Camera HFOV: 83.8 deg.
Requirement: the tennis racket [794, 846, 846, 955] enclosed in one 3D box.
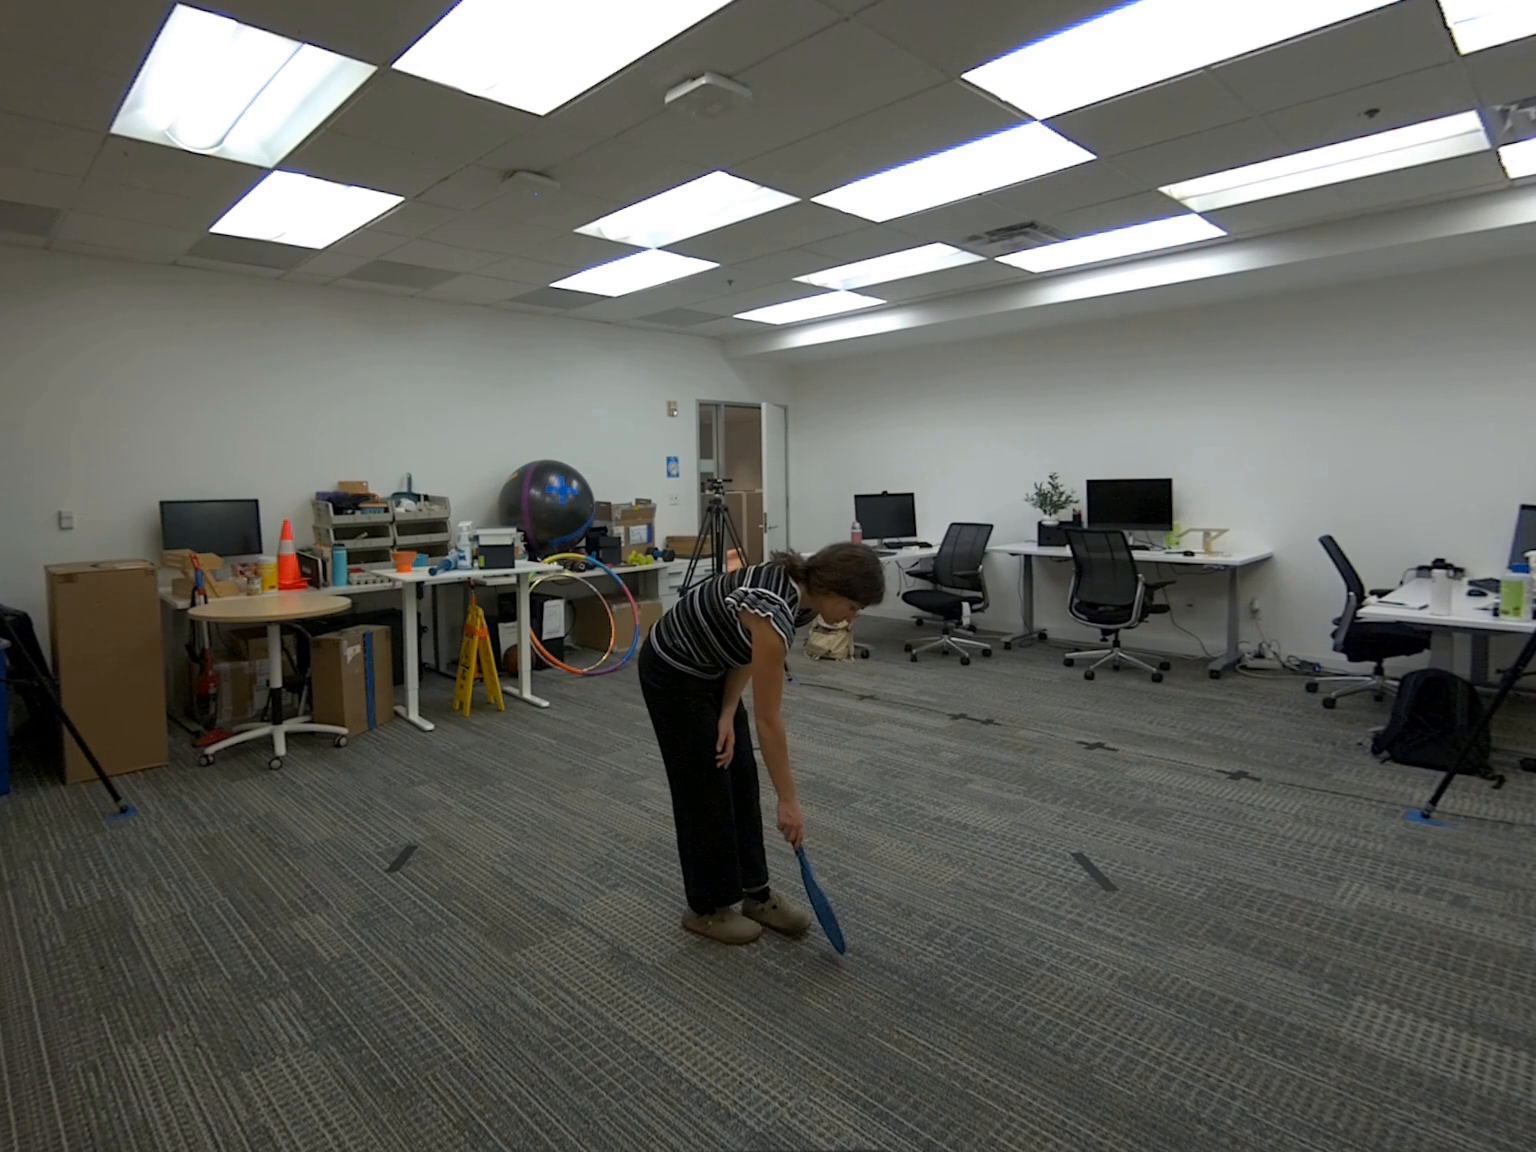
[{"bbox_3d":[0.132,0.883,2.477,0.031,0.433,0.216,-19,1,-17],"label":"tennis racket"}]
